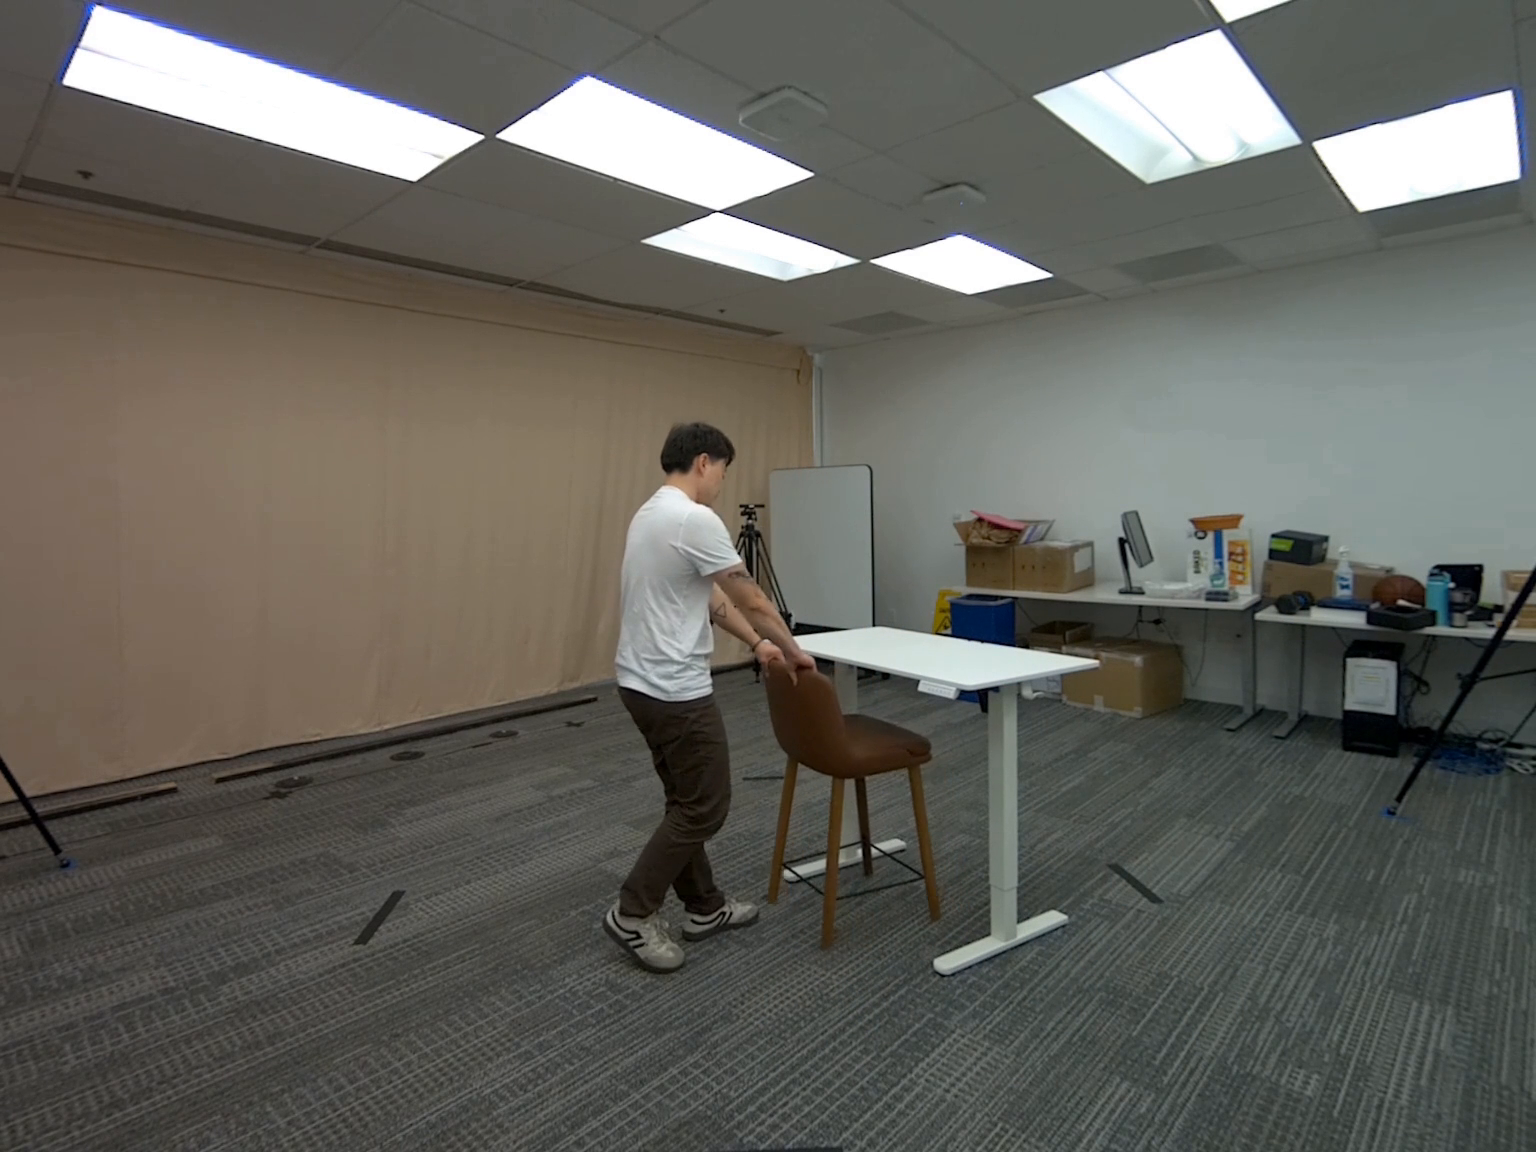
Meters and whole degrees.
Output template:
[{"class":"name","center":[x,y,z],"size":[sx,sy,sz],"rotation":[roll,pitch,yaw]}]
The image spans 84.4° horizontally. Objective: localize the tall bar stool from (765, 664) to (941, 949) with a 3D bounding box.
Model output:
[{"class":"tall bar stool","center":[0.264,0.710,2.854],"size":[0.456,0.887,0.469],"rotation":[-5,5,-28]}]
